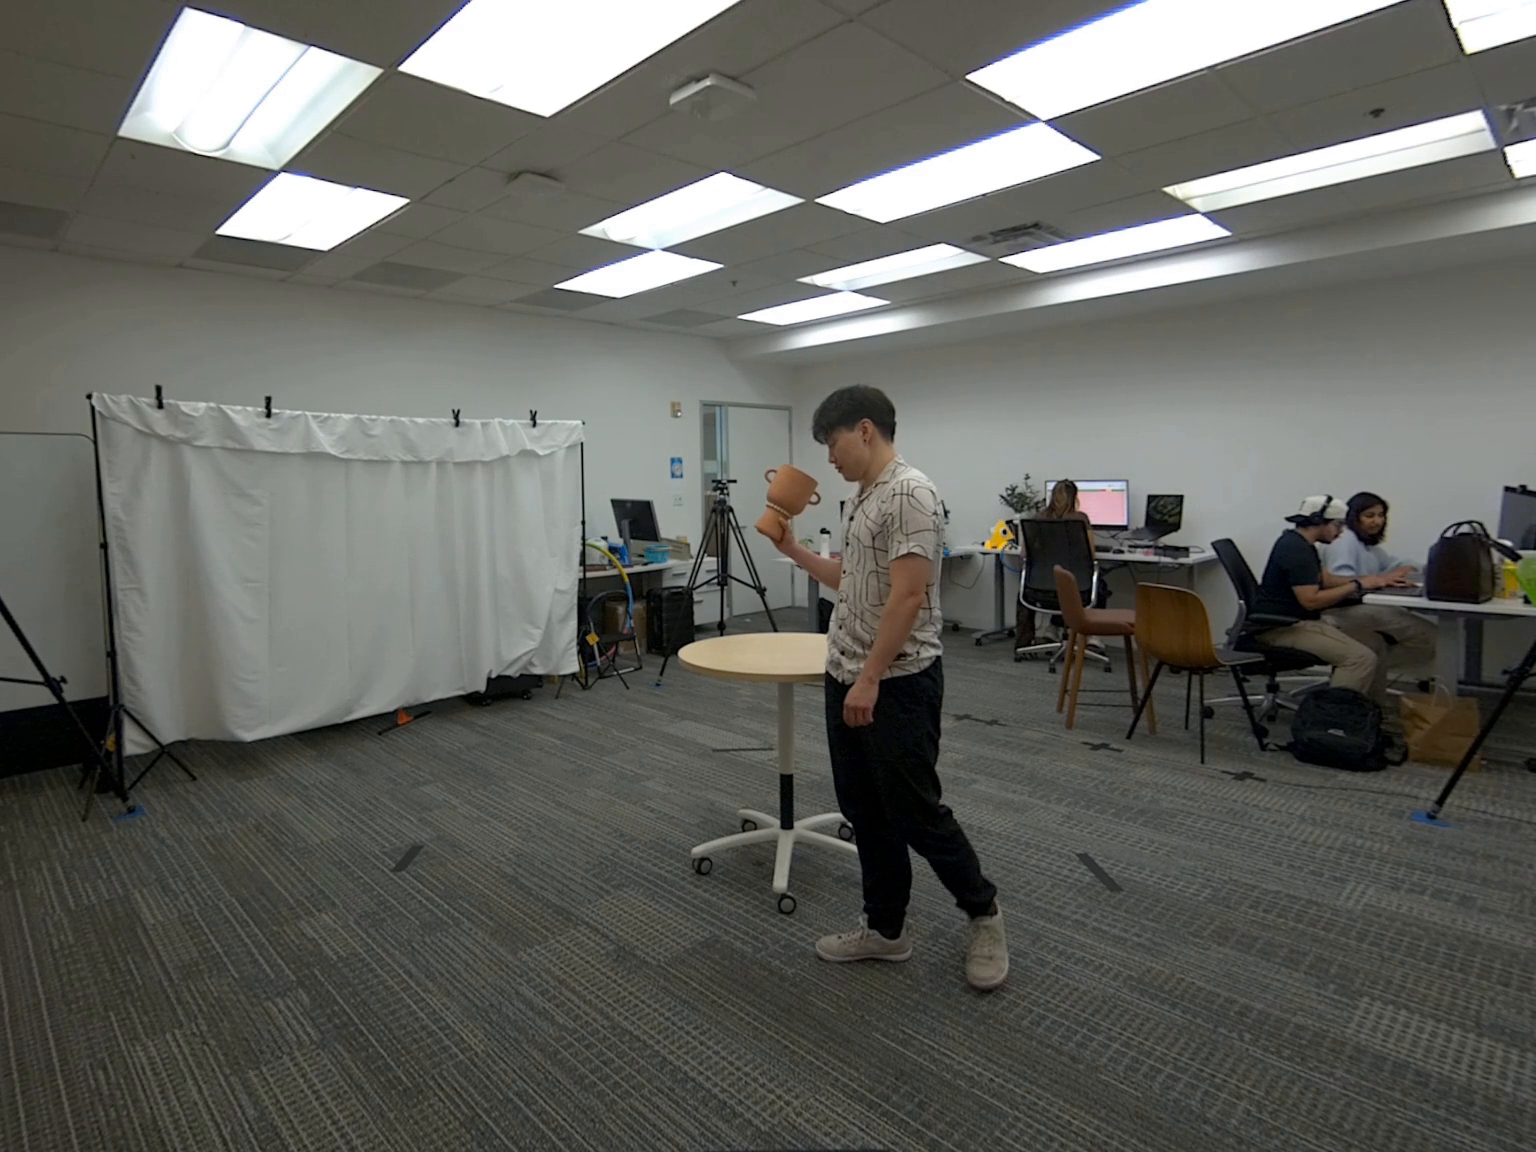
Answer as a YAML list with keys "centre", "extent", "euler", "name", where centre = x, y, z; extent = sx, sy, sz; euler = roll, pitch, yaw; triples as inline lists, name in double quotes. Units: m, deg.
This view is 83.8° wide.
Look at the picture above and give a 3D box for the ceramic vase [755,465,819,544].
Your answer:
- centre: [0.062, -0.232, 2.724]
  extent: [0.165, 0.220, 0.129]
  euler: [26, -3, 42]
  name: "ceramic vase"
